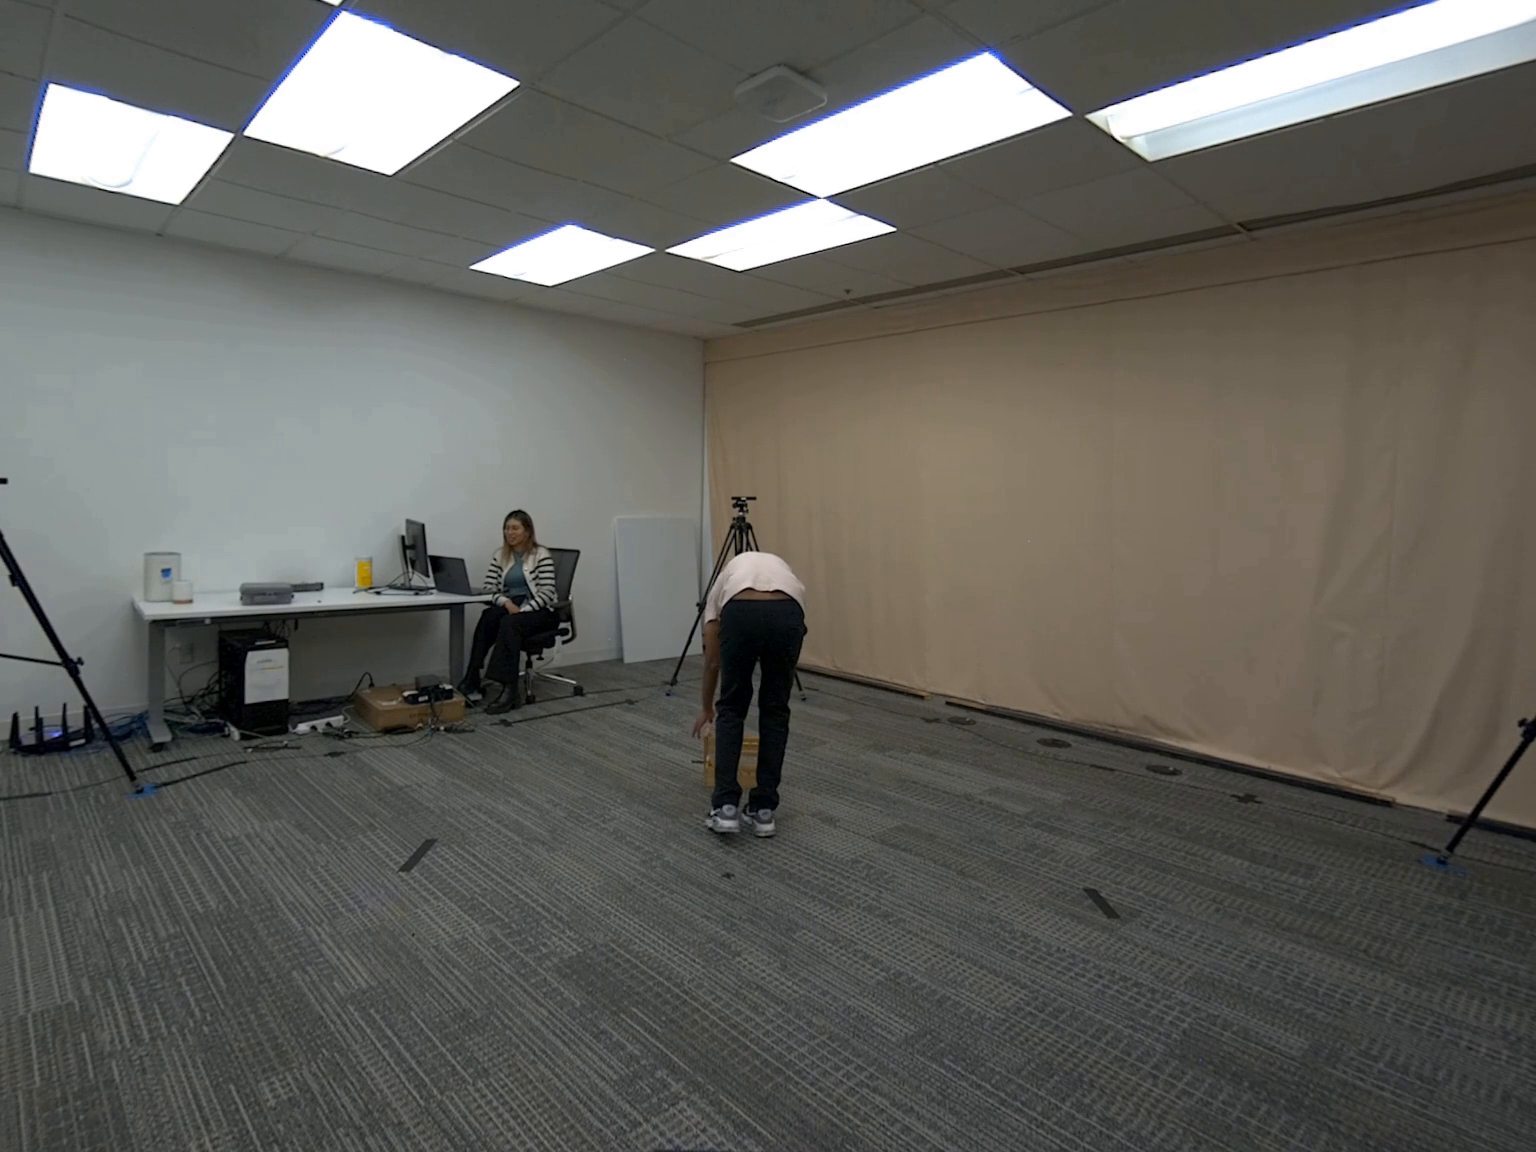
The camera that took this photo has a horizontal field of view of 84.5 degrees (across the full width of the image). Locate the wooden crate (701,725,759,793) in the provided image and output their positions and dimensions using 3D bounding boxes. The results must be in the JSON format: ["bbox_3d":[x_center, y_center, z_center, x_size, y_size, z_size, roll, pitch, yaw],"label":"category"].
[{"bbox_3d":[-0.164,0.883,4.168,0.324,0.272,0.303,2,5,-1],"label":"wooden crate"}]
